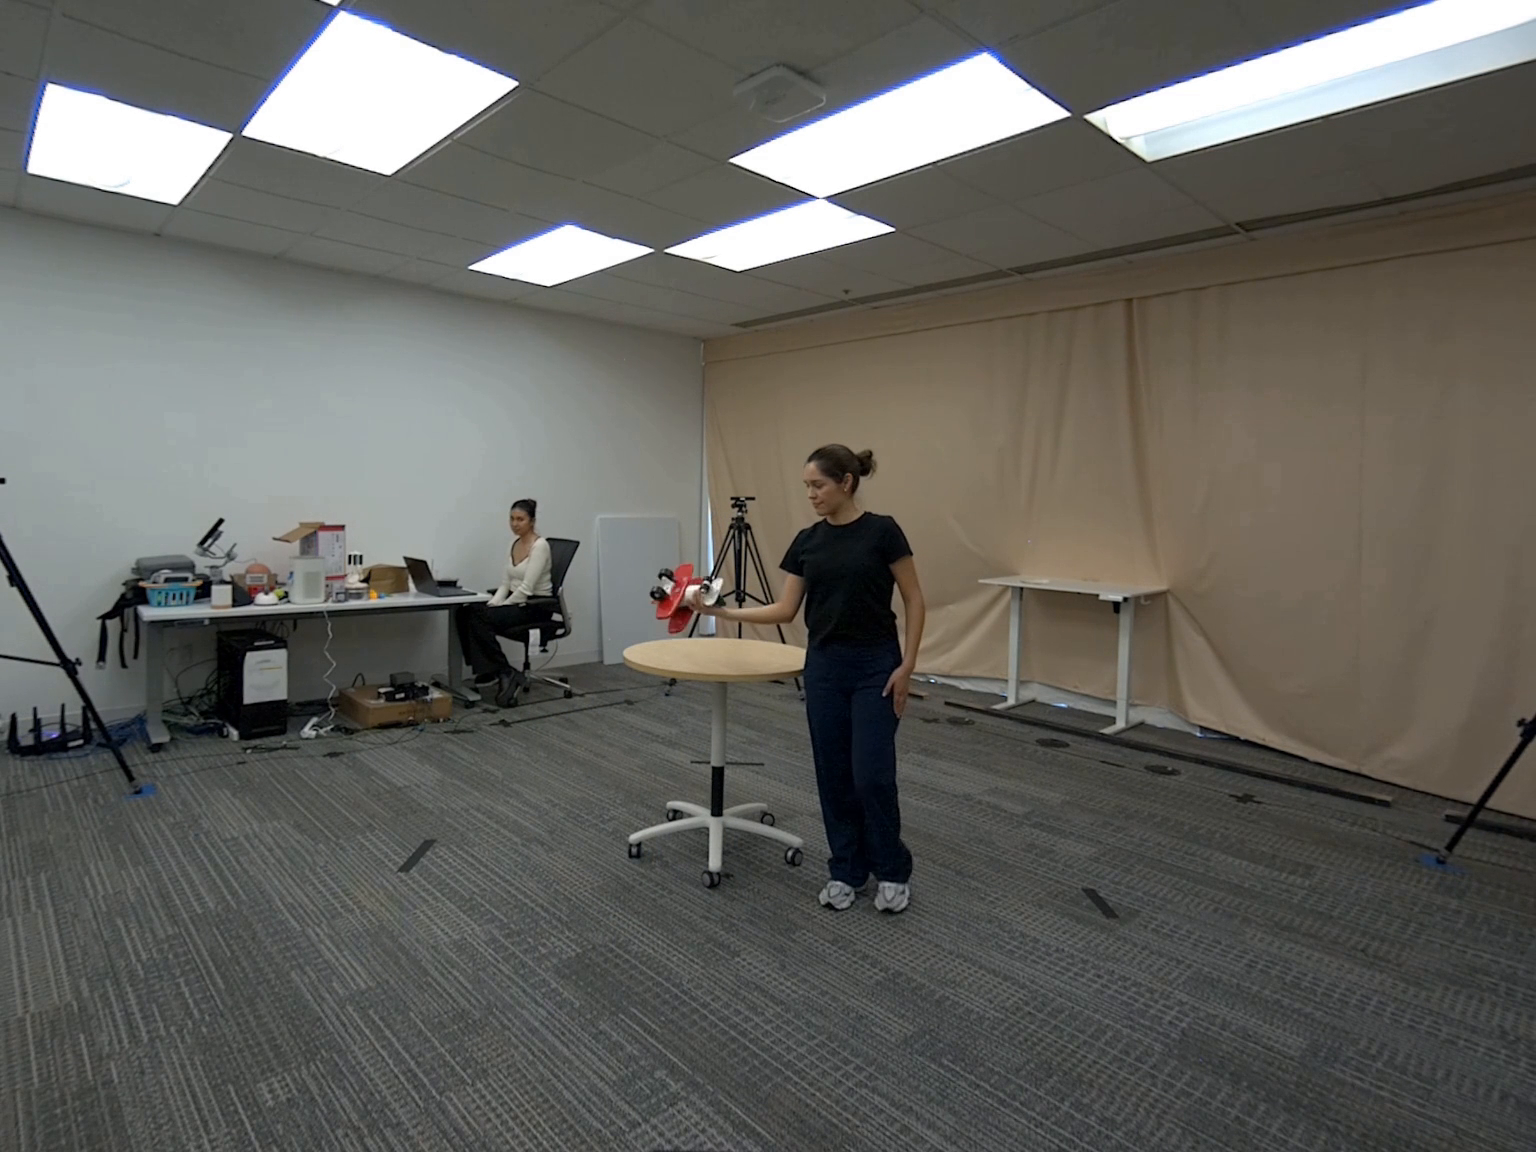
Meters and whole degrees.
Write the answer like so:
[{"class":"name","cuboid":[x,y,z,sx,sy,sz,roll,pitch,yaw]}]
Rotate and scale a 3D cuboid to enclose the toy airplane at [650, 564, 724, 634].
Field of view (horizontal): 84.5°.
[{"class":"toy airplane","cuboid":[-0.275,0.081,2.950,0.267,0.152,0.251,28,62,39]}]
